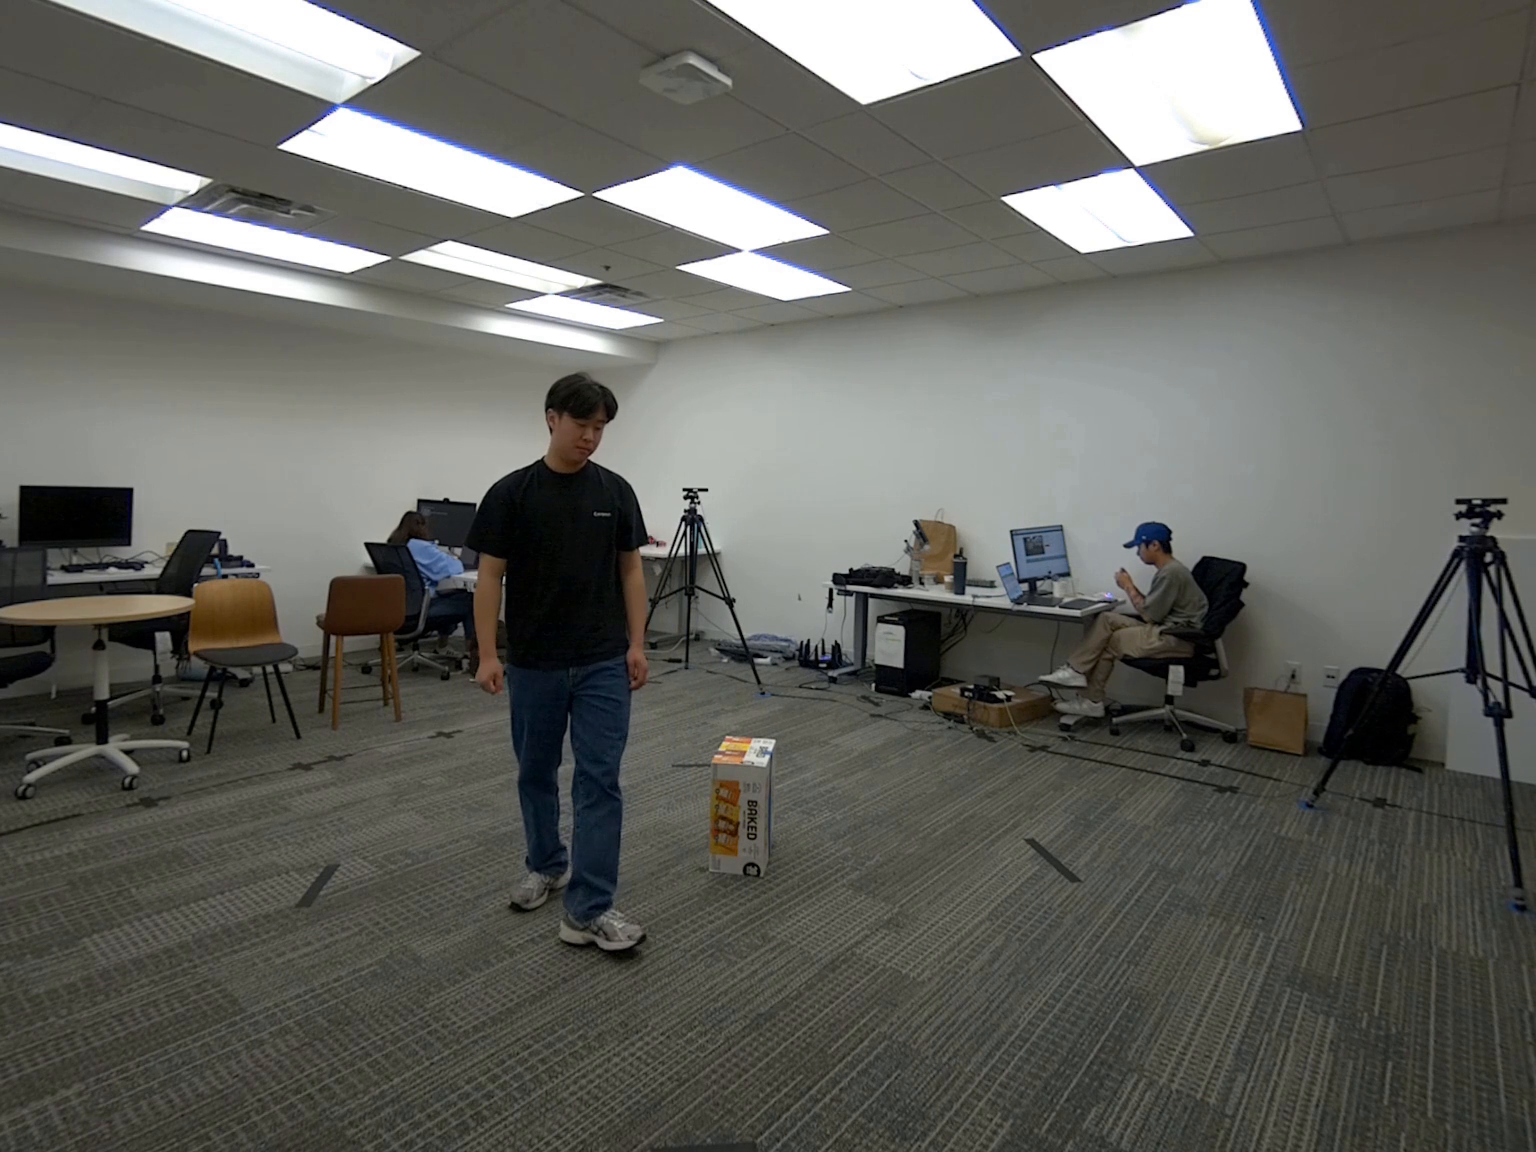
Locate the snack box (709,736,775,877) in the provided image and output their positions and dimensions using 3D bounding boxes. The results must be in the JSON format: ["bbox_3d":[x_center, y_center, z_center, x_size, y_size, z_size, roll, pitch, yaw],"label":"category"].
[{"bbox_3d":[-0.103,0.855,3.226,0.208,0.404,0.338,2,4,8],"label":"snack box"}]
